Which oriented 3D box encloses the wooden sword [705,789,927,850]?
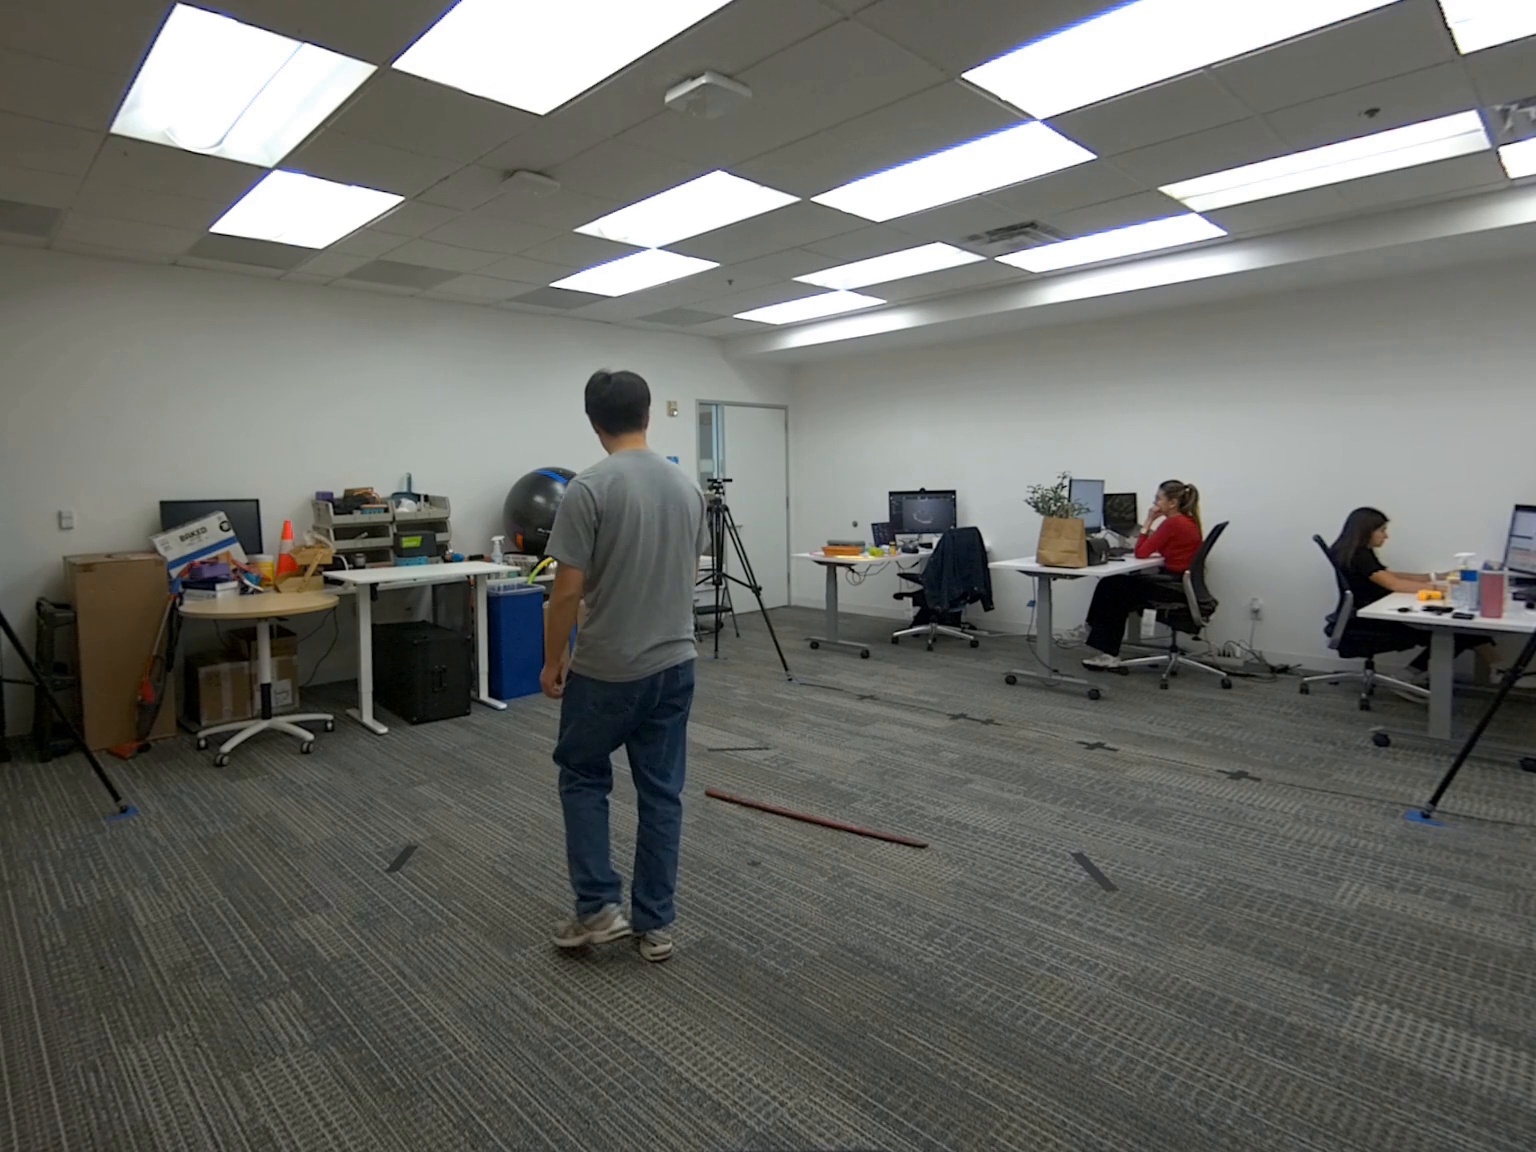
[{"bbox_3d":[0.160,0.975,3.485,1.054,0.023,0.051,4,32,34],"label":"wooden sword"}]
